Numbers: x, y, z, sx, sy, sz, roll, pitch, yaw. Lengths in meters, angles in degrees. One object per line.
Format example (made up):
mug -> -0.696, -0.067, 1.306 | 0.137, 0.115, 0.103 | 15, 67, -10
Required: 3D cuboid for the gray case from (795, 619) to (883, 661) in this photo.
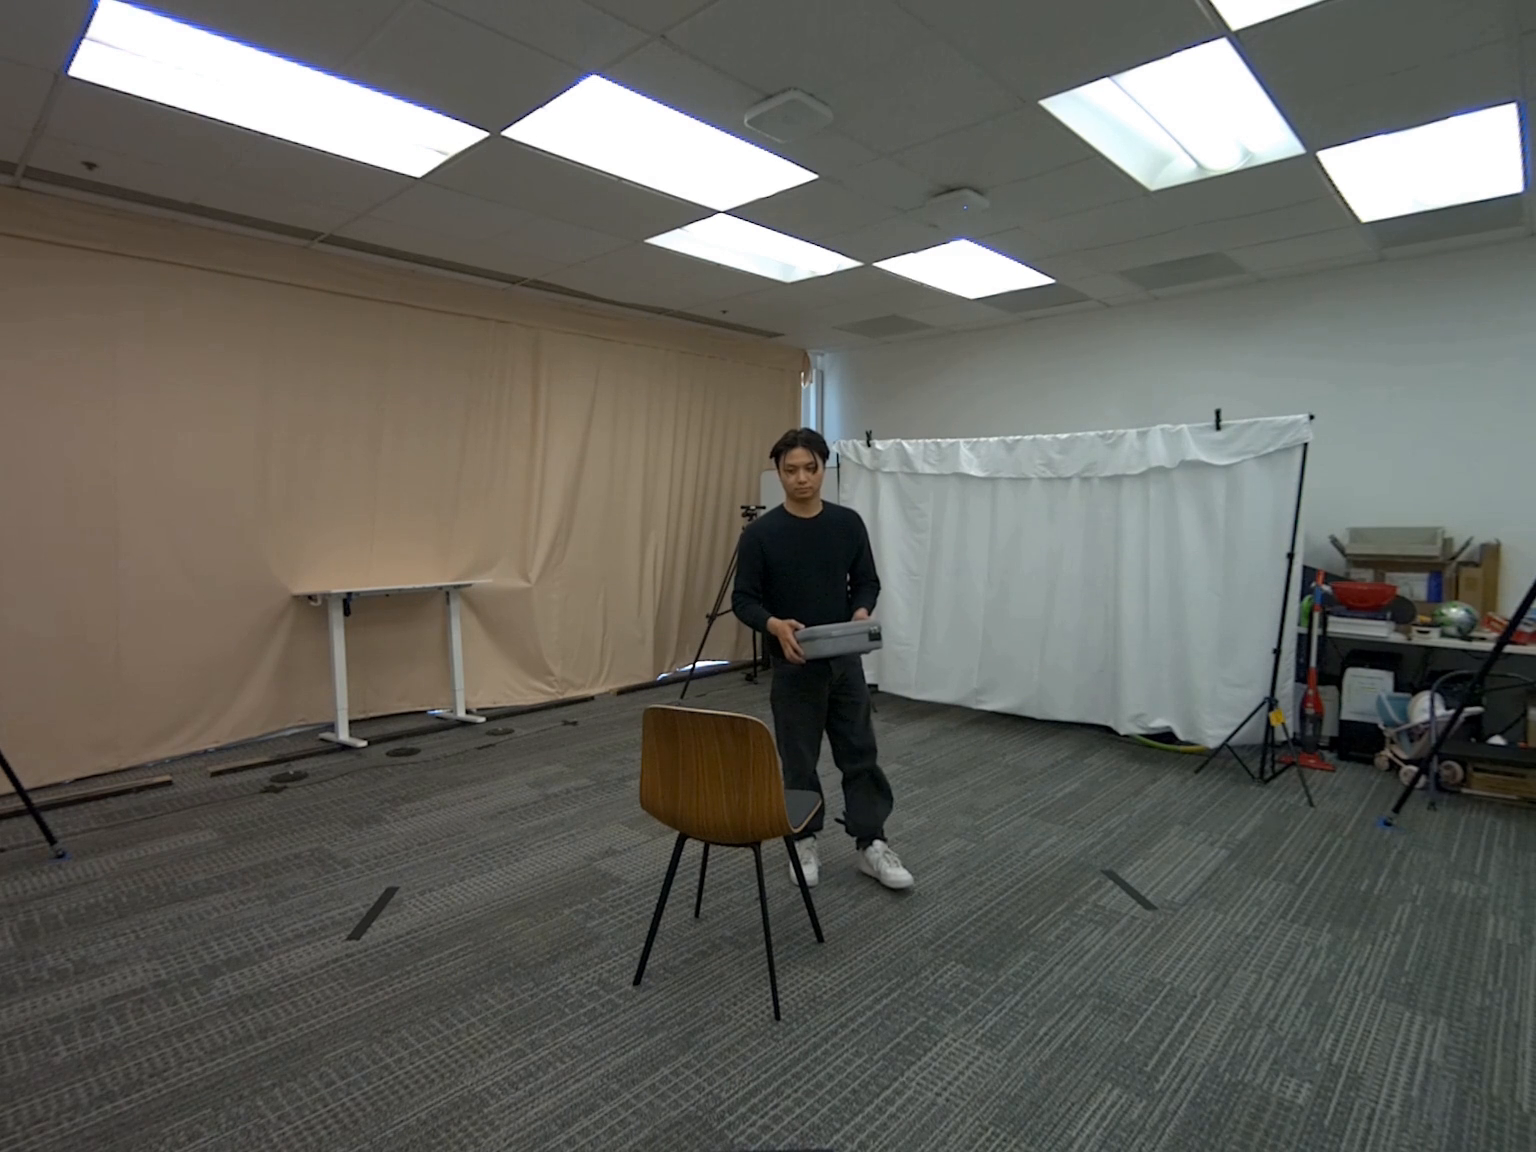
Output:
gray case -> 0.233, 0.211, 2.837 | 0.253, 0.105, 0.263 | -8, -4, -16
